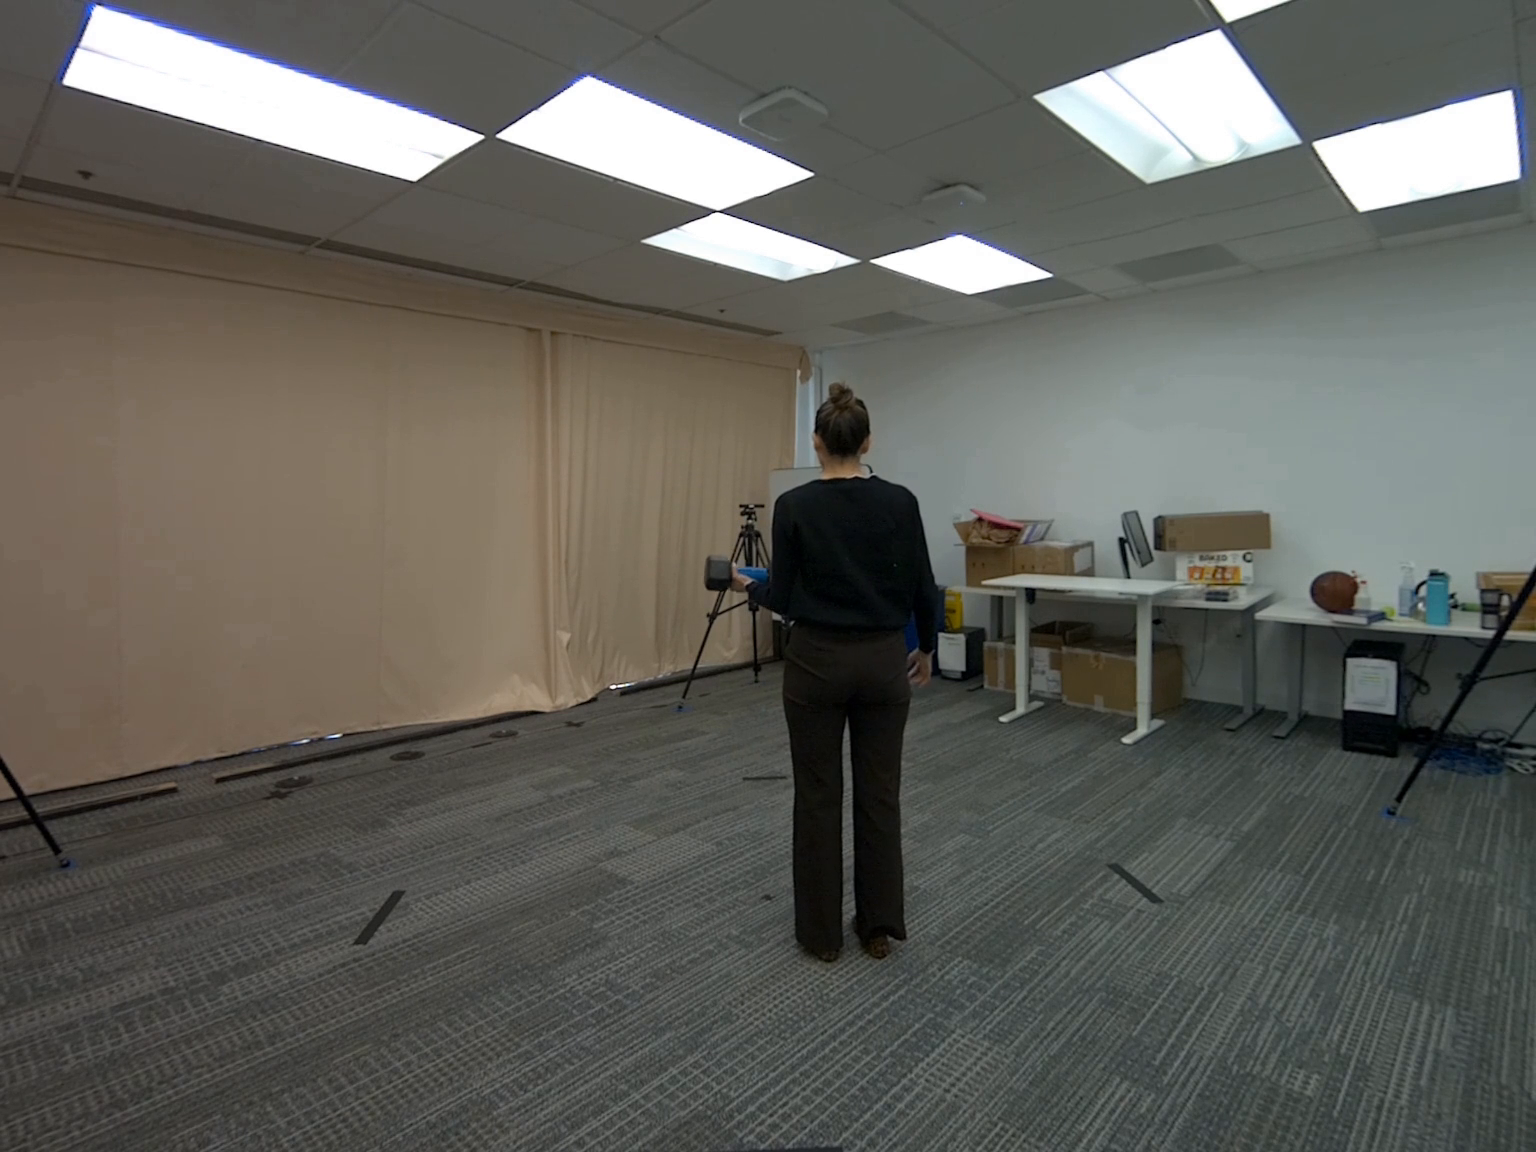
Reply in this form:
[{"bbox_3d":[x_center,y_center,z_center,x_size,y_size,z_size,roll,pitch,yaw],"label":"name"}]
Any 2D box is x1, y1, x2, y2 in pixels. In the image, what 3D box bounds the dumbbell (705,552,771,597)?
[{"bbox_3d":[-0.056,-0.003,2.838,0.291,0.108,0.125,3,13,-8],"label":"dumbbell"}]
